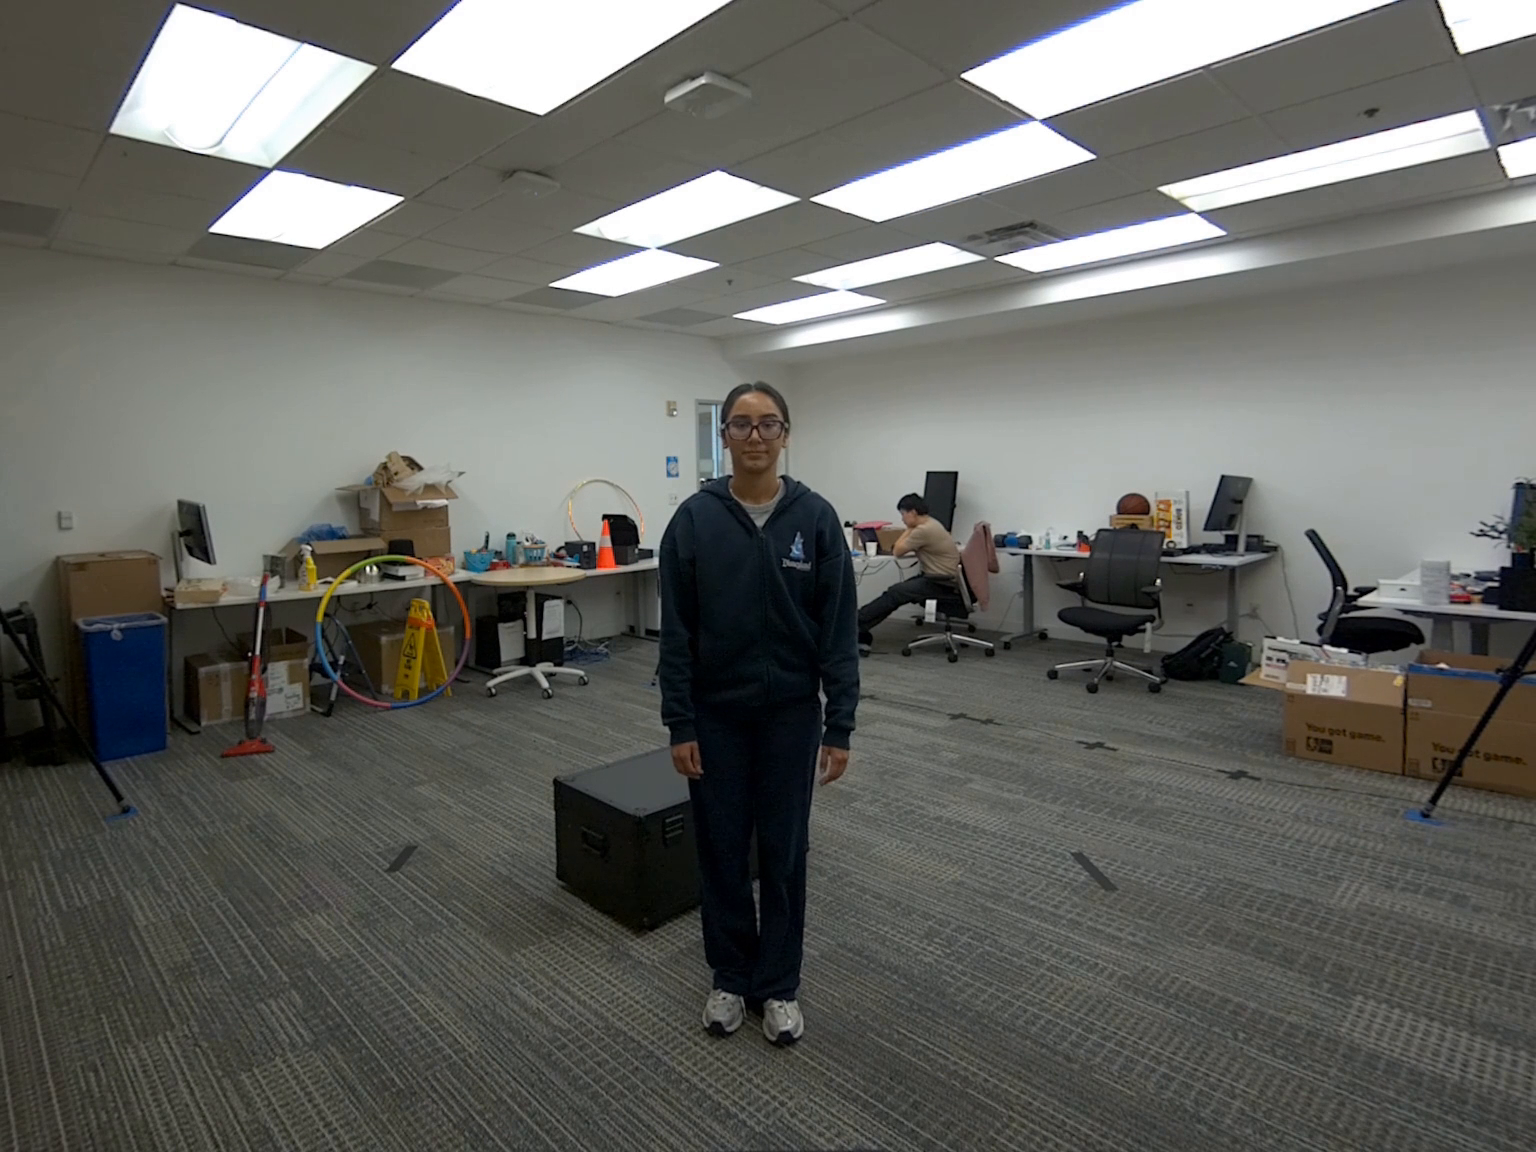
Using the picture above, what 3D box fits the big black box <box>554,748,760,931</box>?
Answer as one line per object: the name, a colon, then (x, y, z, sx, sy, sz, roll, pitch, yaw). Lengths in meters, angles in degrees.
big black box: (-0.272, 0.862, 3.057, 0.538, 0.394, 0.839, 5, 9, 45)
